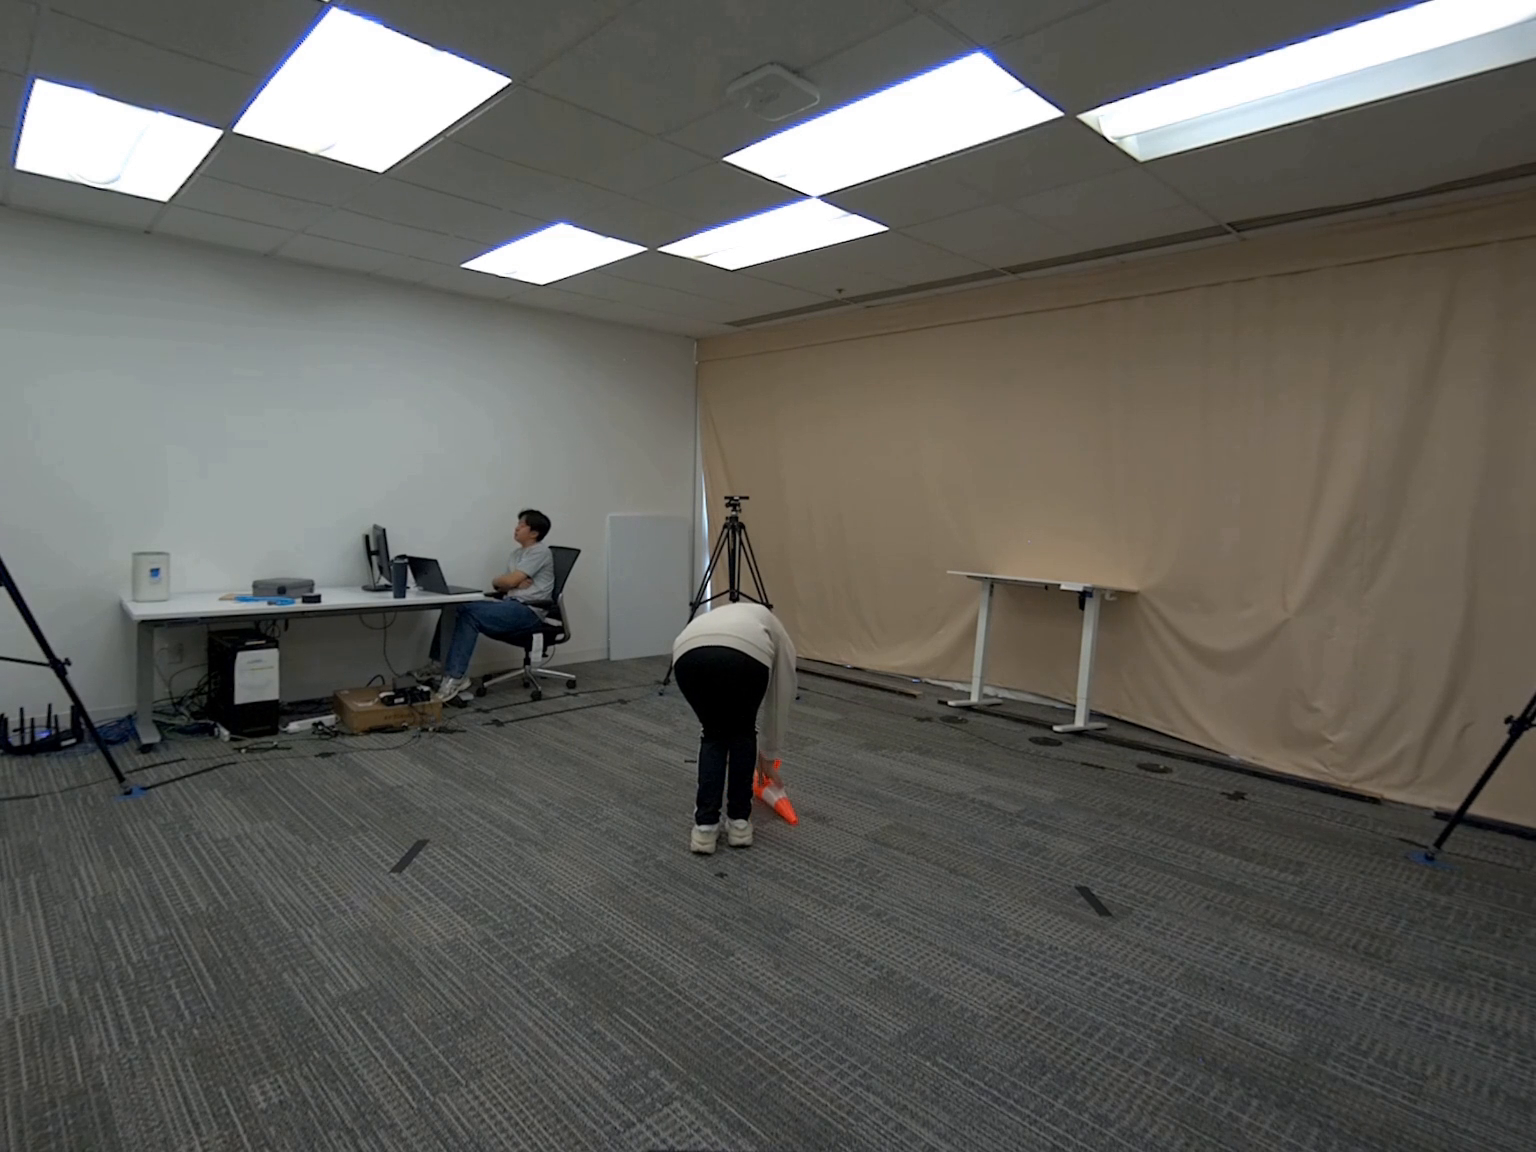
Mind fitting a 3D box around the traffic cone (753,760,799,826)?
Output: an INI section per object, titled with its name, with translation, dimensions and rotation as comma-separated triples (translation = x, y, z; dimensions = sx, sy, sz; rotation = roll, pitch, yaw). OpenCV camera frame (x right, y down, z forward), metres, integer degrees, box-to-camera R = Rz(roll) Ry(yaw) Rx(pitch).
[traffic cone]
translation = 0.025, 0.986, 3.769
dimensions = 0.197, 0.205, 0.395
rotation = 30, 5, -35
